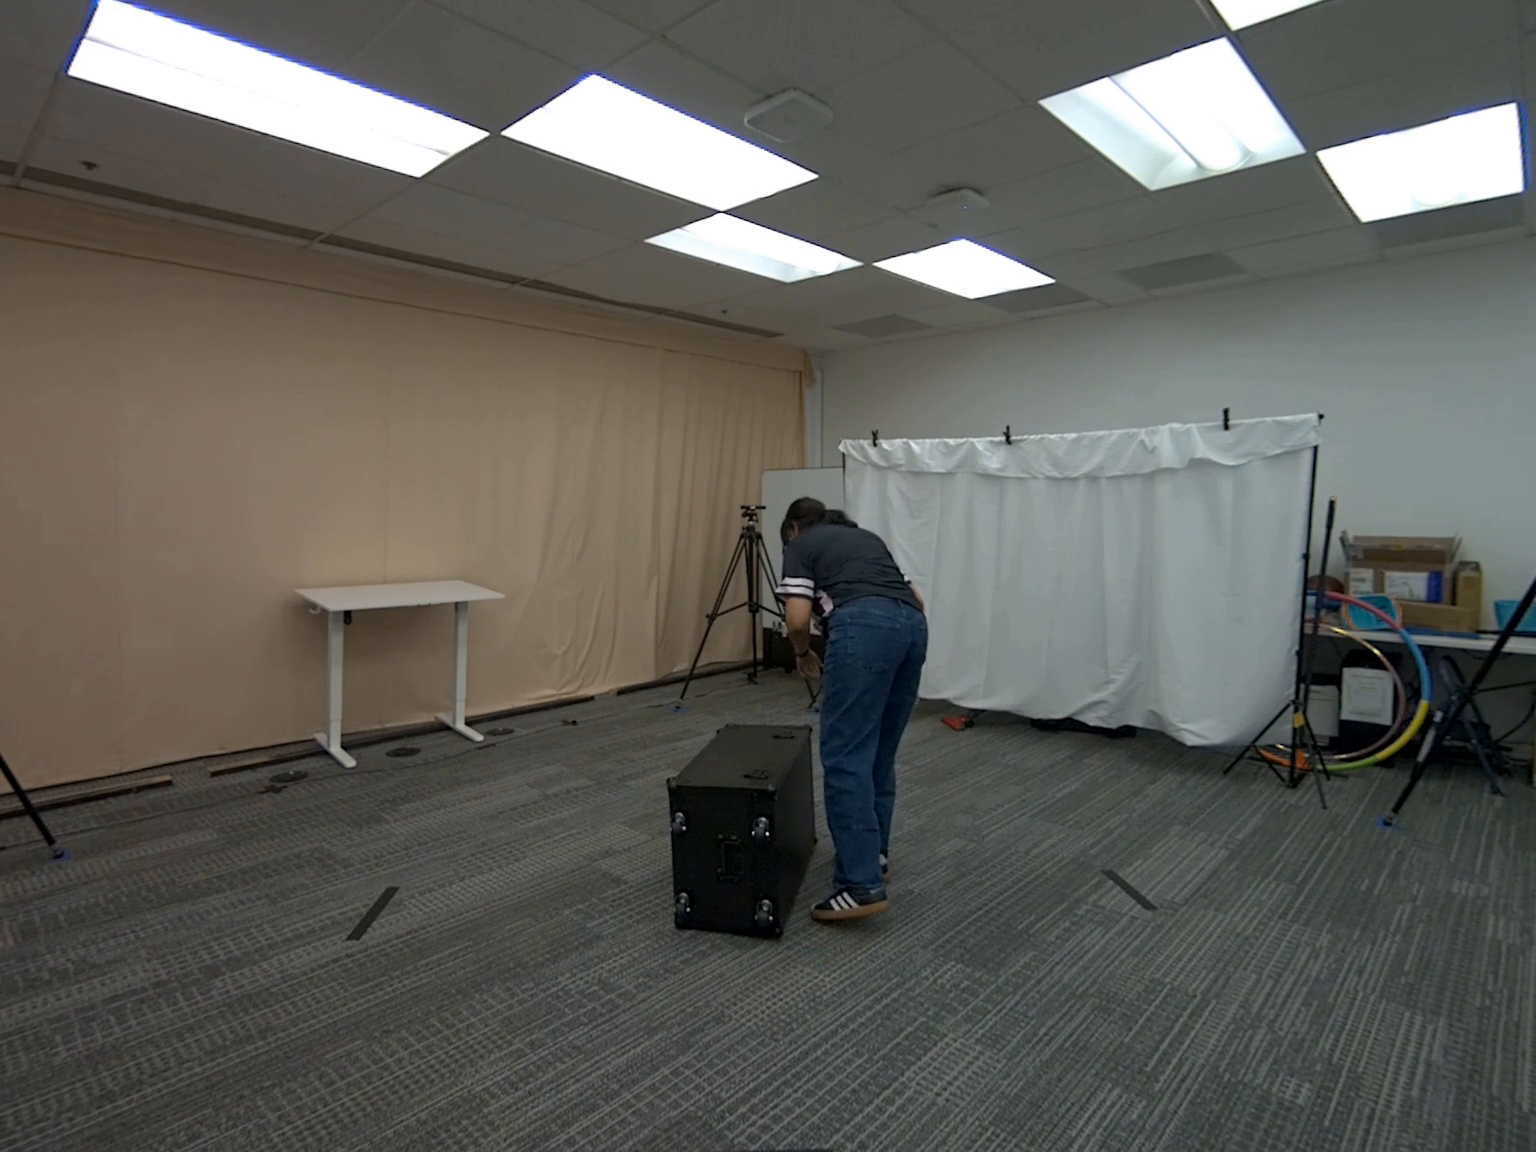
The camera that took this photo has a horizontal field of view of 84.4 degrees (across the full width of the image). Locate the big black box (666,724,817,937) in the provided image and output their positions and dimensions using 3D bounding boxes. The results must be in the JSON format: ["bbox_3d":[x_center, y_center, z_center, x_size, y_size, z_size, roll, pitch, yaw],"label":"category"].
[{"bbox_3d":[-0.076,0.883,3.055,0.391,0.522,0.858,0,4,12],"label":"big black box"}]
